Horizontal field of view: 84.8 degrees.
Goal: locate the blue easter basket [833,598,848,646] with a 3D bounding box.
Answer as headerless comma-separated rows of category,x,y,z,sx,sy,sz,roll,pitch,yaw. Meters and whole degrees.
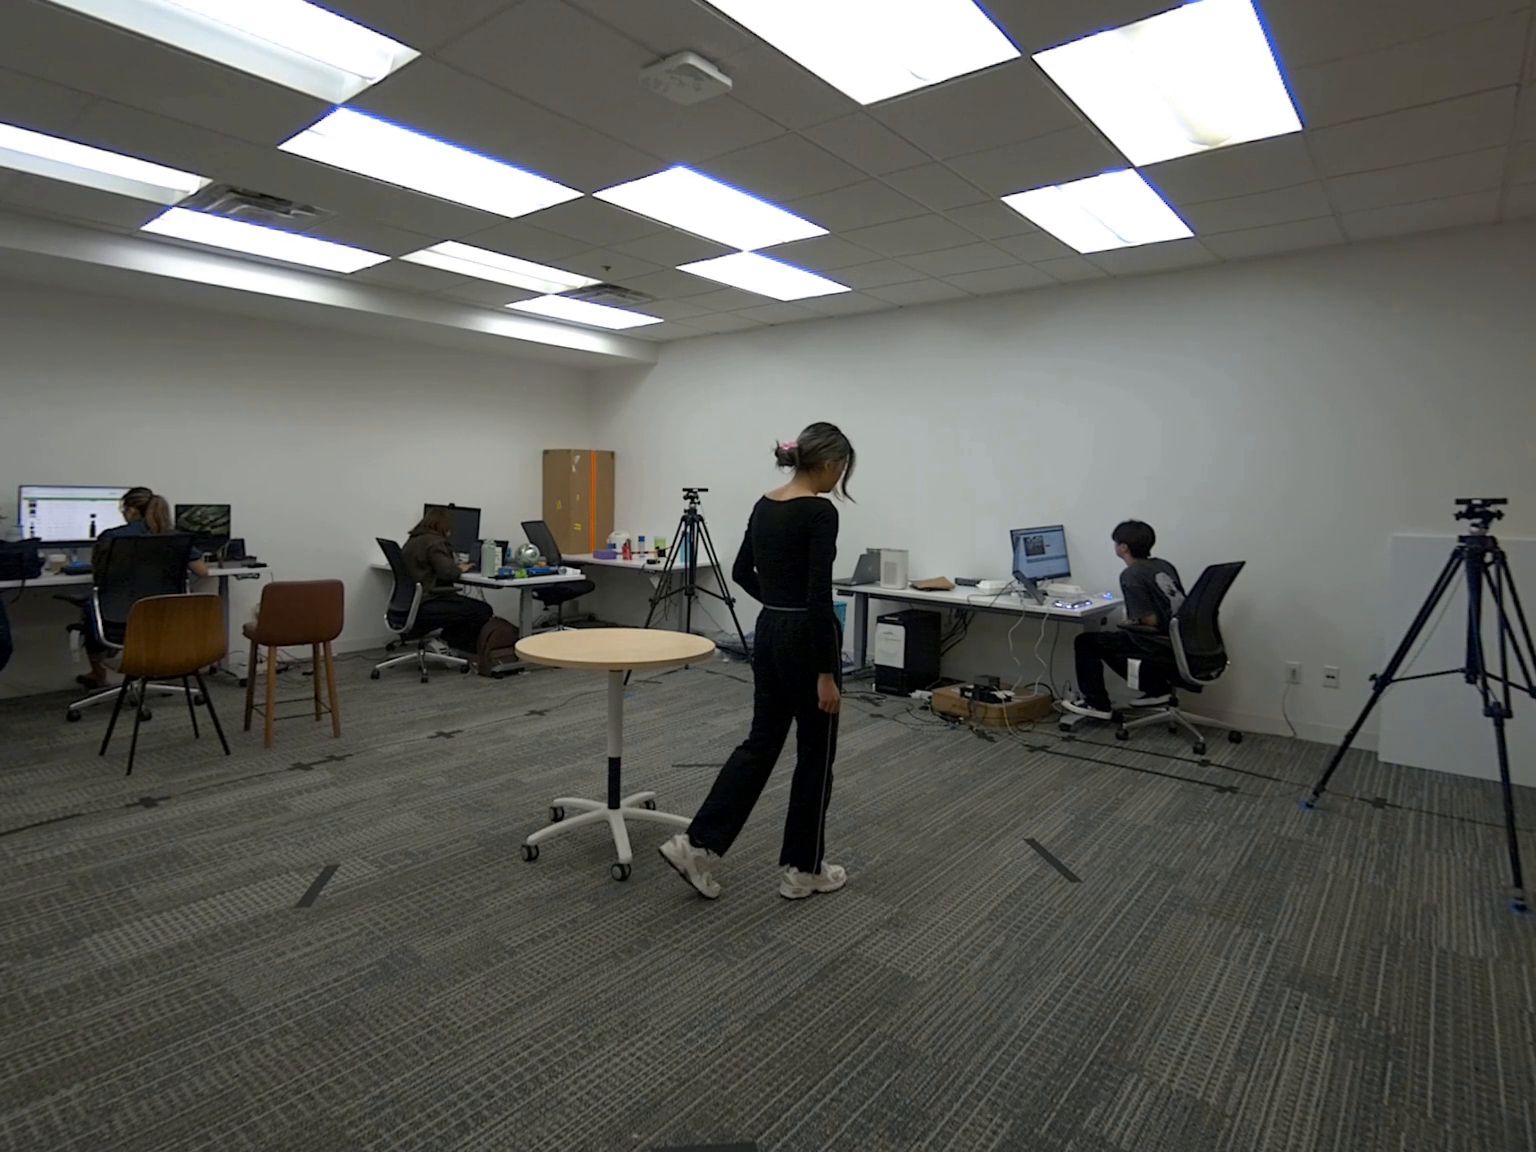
blue easter basket,0.185,0.179,3.347,0.243,0.156,0.244,-4,1,-2
